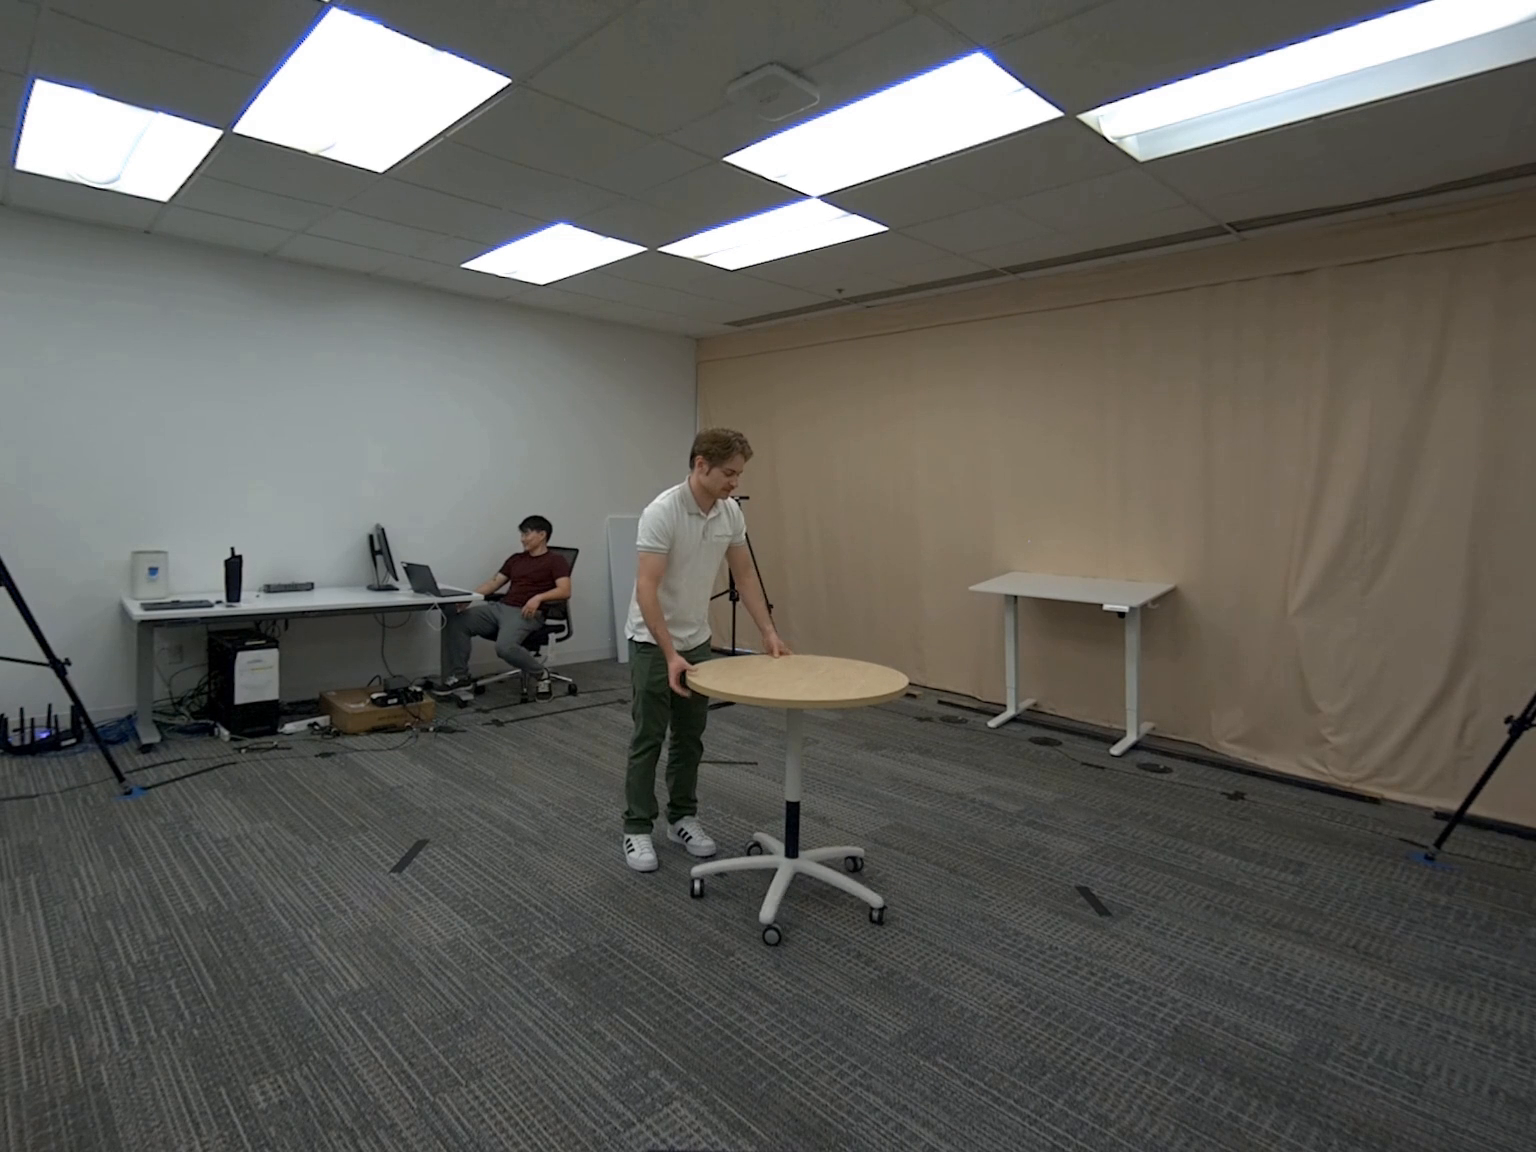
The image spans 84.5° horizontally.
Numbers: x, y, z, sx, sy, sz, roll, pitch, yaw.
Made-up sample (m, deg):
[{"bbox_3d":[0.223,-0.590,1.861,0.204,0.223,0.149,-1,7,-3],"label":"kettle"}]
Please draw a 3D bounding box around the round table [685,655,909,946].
[{"bbox_3d":[0.087,0.735,2.931,0.763,0.792,0.766,1,4,-1],"label":"round table"}]
